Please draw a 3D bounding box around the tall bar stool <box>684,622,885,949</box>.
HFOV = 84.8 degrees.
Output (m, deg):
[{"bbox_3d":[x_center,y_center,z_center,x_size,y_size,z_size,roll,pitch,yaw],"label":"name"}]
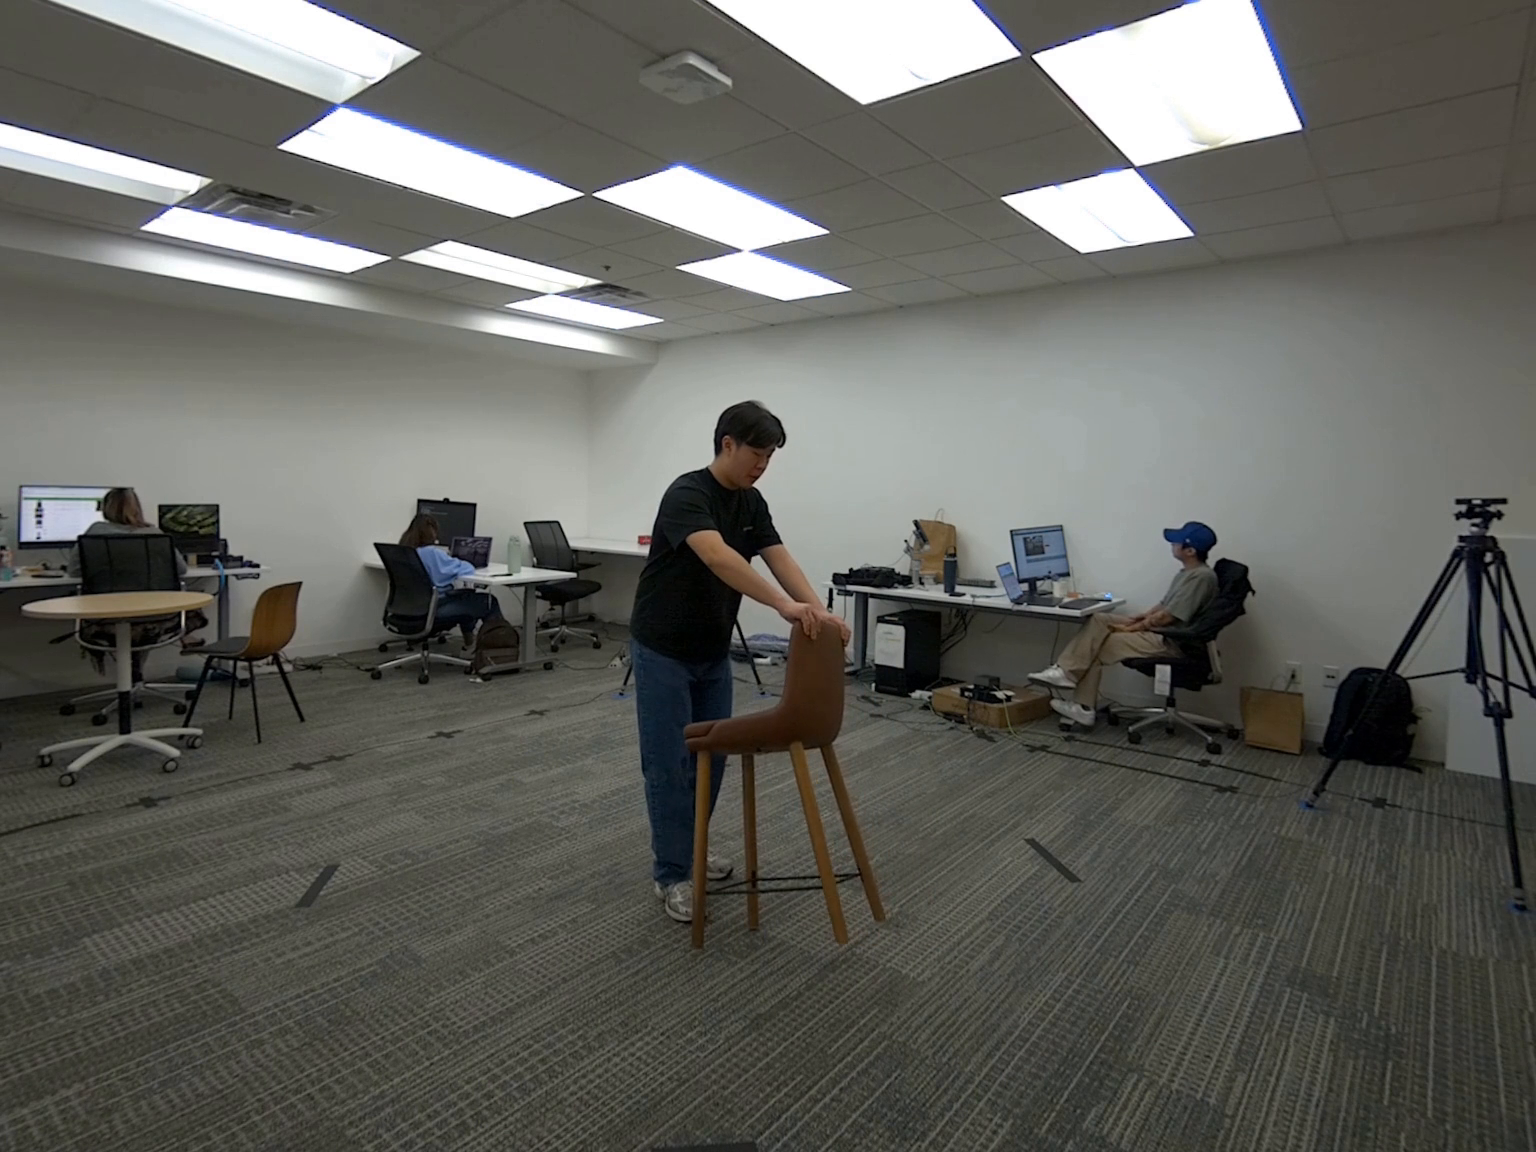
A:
[{"bbox_3d":[0.022,0.613,2.574,0.476,0.905,0.440,-13,-18,23],"label":"tall bar stool"}]
